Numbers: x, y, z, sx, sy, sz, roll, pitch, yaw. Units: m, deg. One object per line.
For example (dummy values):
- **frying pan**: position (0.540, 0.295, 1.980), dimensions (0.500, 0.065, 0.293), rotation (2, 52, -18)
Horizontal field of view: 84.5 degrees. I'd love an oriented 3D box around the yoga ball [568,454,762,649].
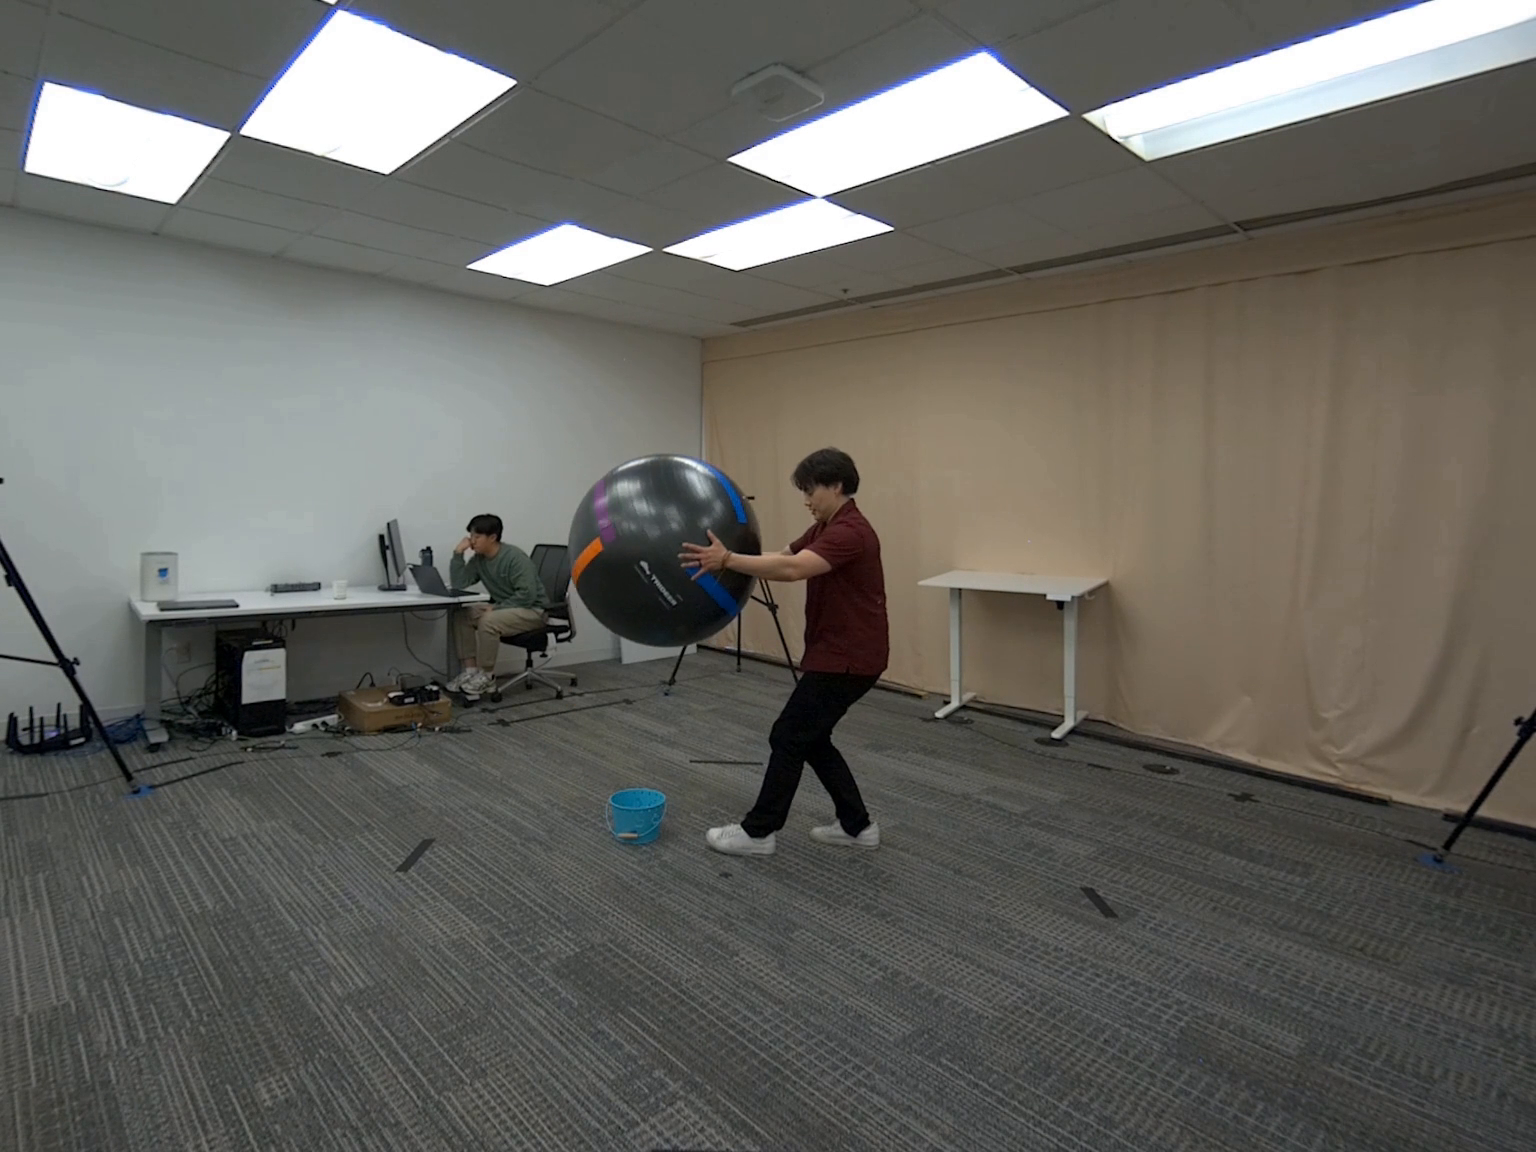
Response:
- **yoga ball**: position (-0.404, -0.095, 3.305), dimensions (0.757, 0.756, 0.761), rotation (1, 4, -1)
